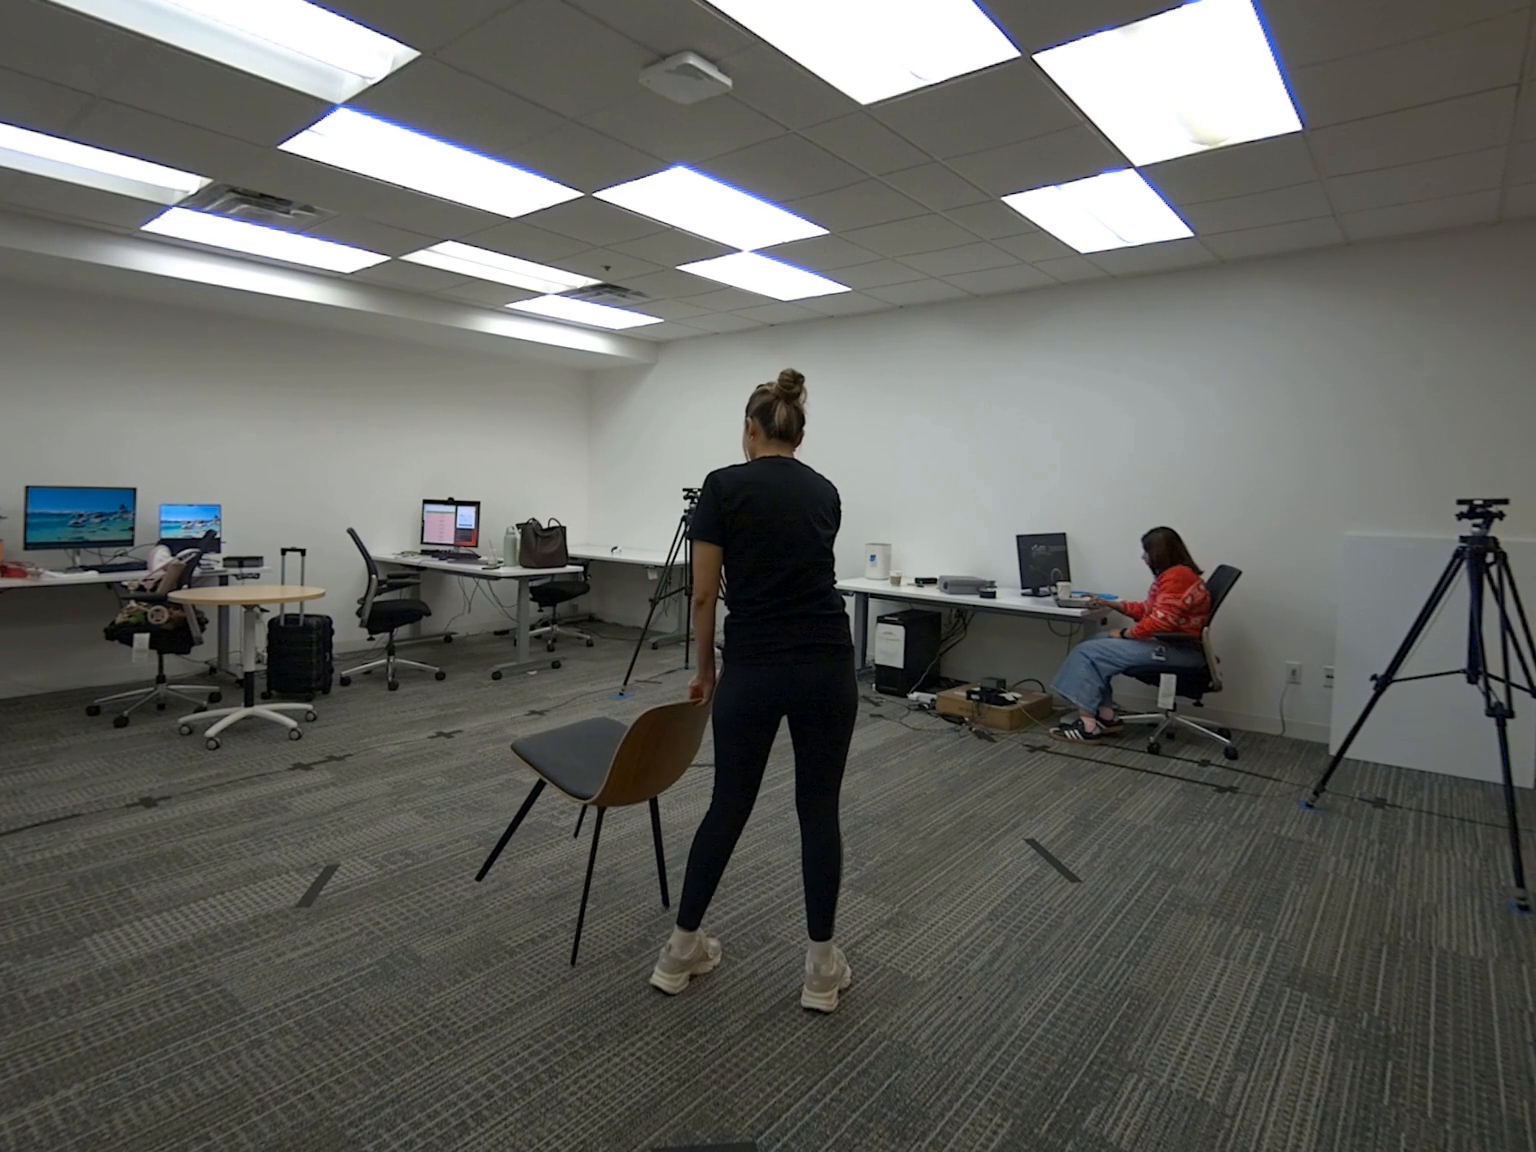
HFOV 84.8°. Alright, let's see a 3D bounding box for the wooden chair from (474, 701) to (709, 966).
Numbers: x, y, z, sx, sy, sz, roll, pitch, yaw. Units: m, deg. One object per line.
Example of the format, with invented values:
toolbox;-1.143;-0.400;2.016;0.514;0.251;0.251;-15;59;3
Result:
wooden chair;-0.534;0.633;2.670;0.542;0.870;0.465;28;17;29
